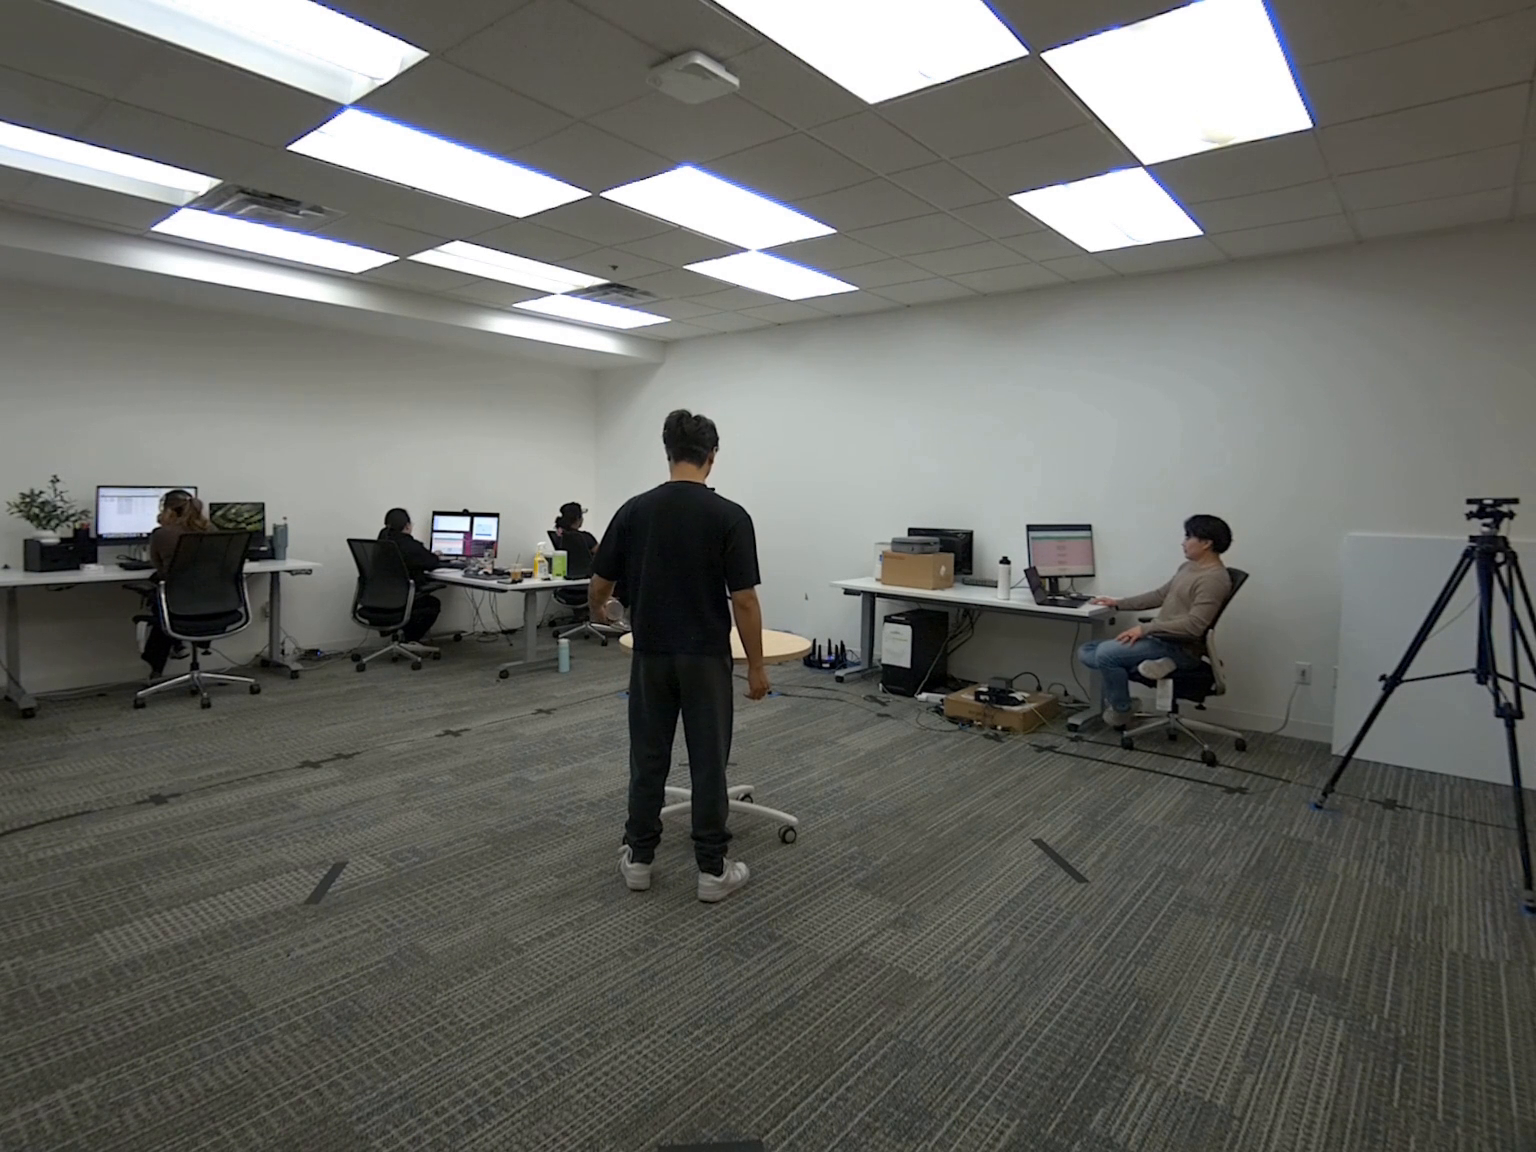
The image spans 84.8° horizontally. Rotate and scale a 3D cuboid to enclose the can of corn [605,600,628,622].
[{"bbox_3d":[-0.600,0.133,3.287,0.073,0.074,0.113,-1,0,-21],"label":"can of corn"}]
